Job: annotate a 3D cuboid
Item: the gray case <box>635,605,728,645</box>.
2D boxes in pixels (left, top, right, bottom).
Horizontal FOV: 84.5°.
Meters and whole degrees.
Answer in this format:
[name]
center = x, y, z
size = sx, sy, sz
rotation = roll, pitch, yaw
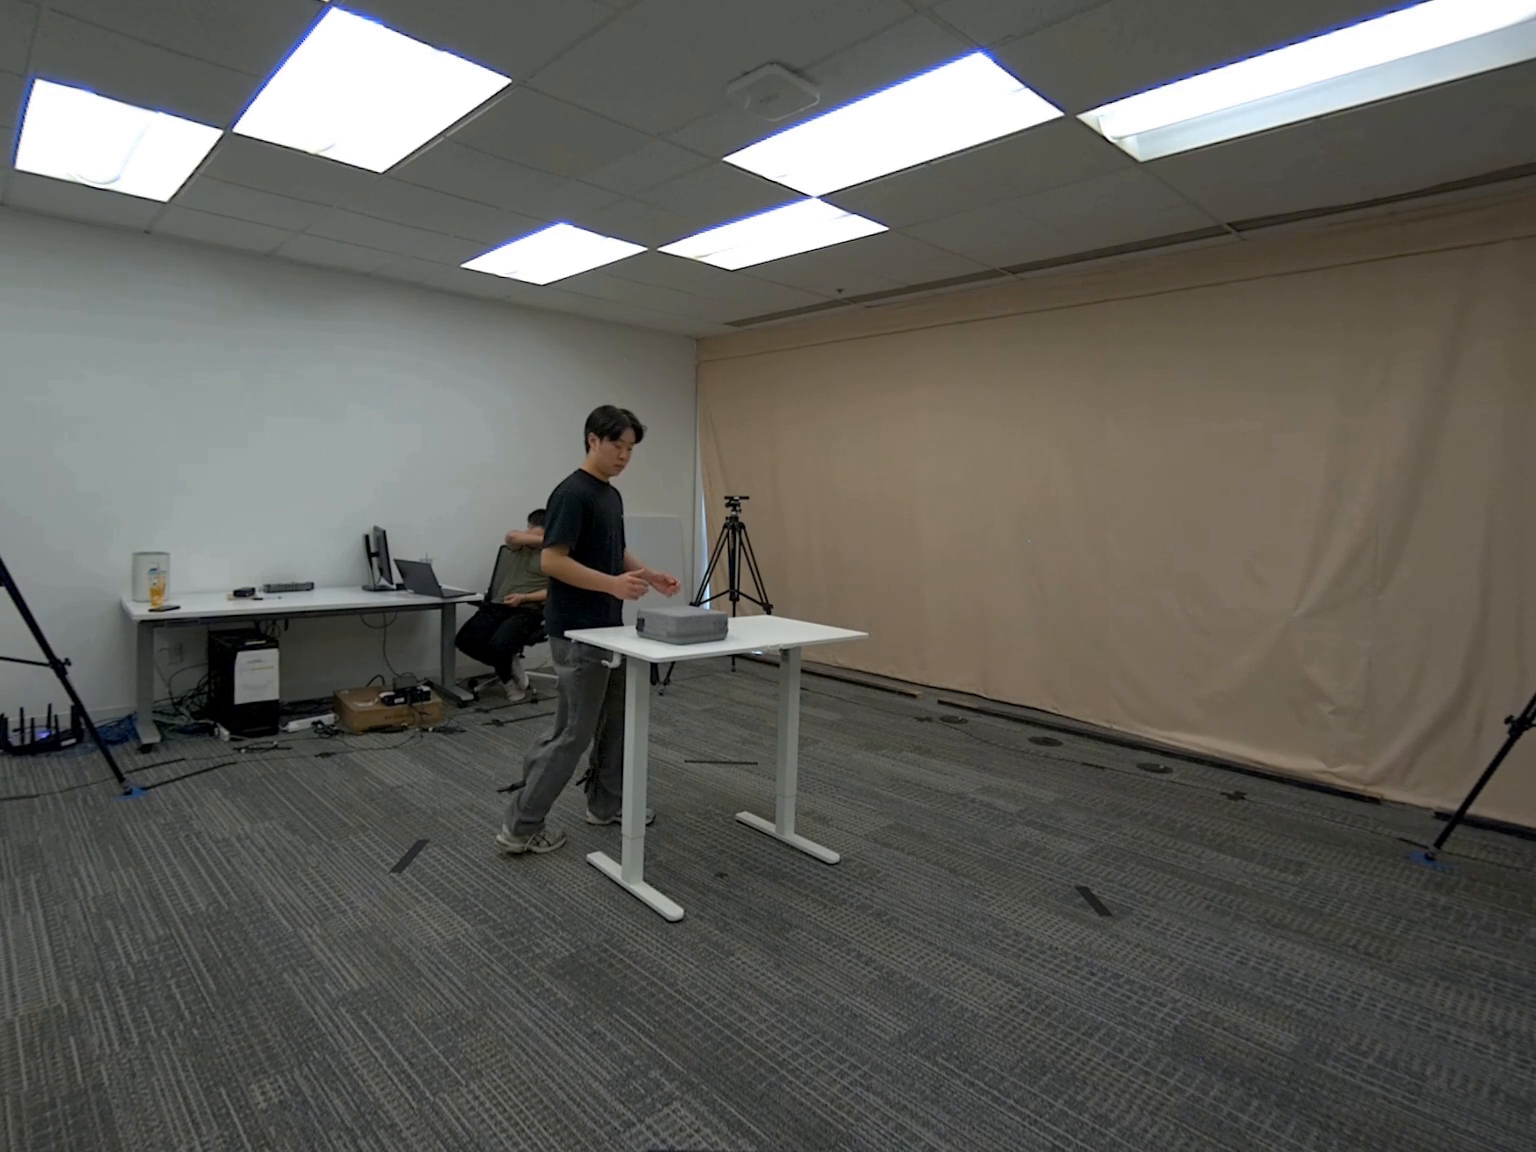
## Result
[gray case]
center = -0.302, 0.173, 3.024
size = 0.270, 0.103, 0.280
rotation = 6, 6, 44
